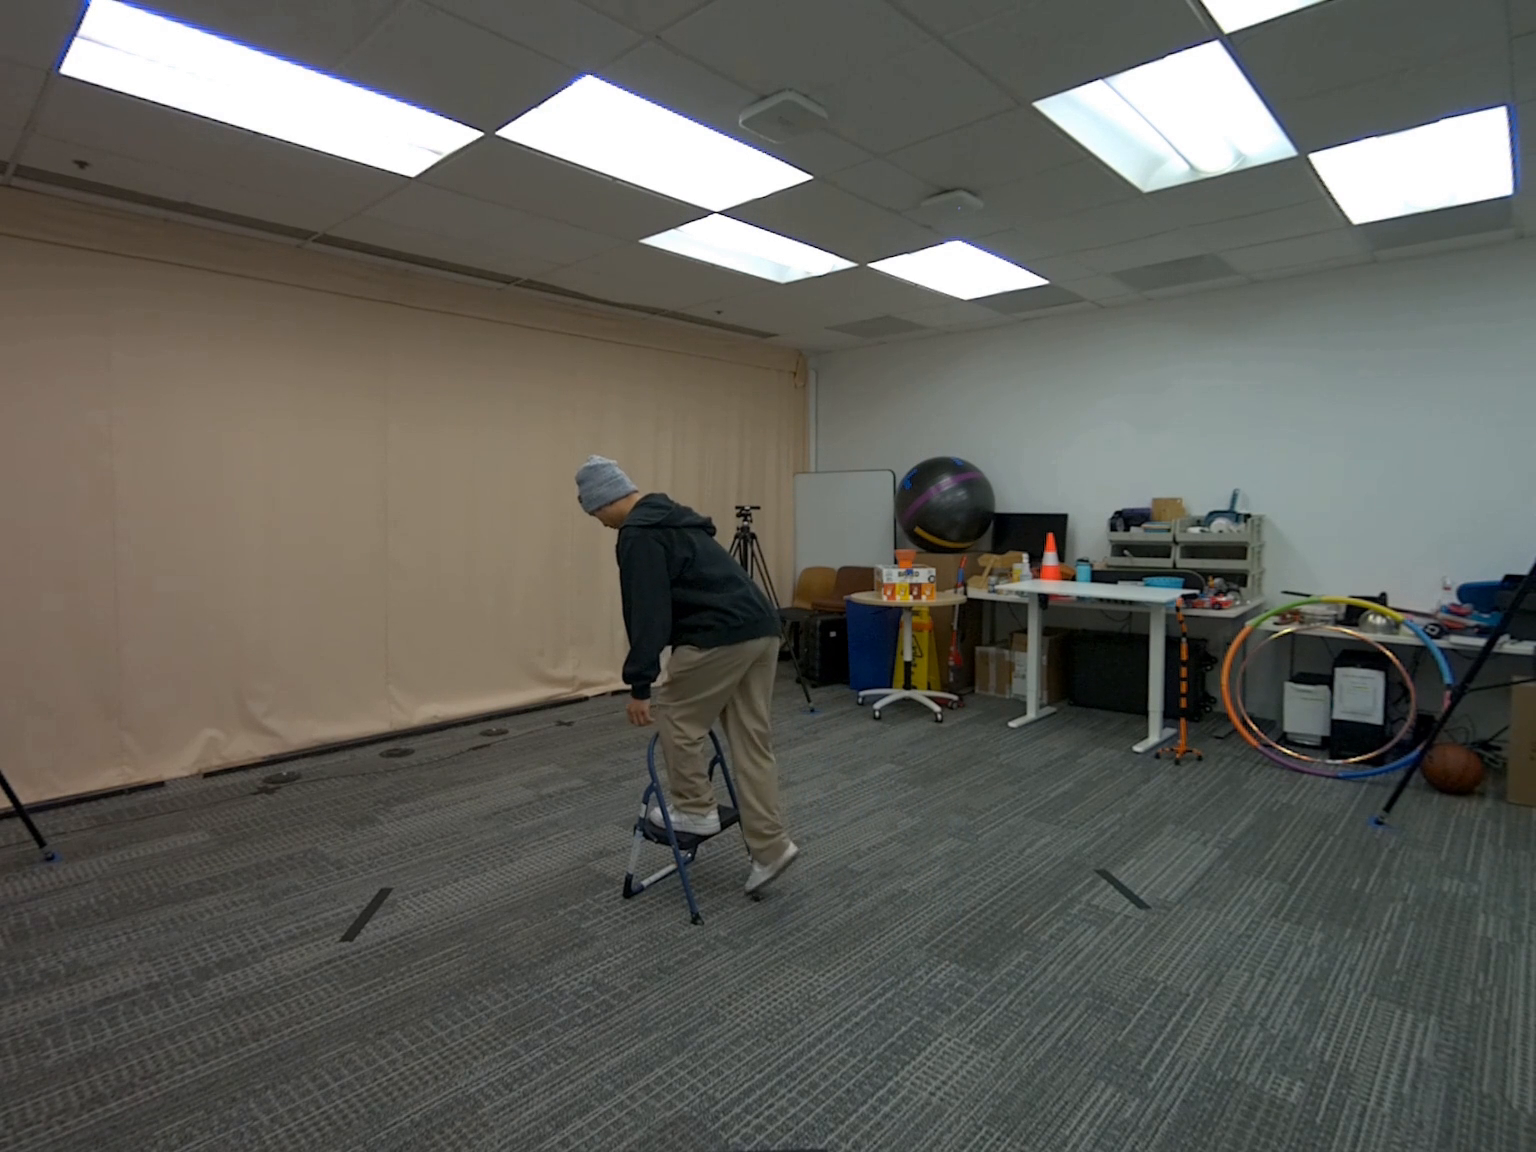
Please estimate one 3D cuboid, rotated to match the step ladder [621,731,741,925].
[{"bbox_3d":[-0.269,0.837,3.053,0.360,0.605,0.419,1,4,32],"label":"step ladder"}]
